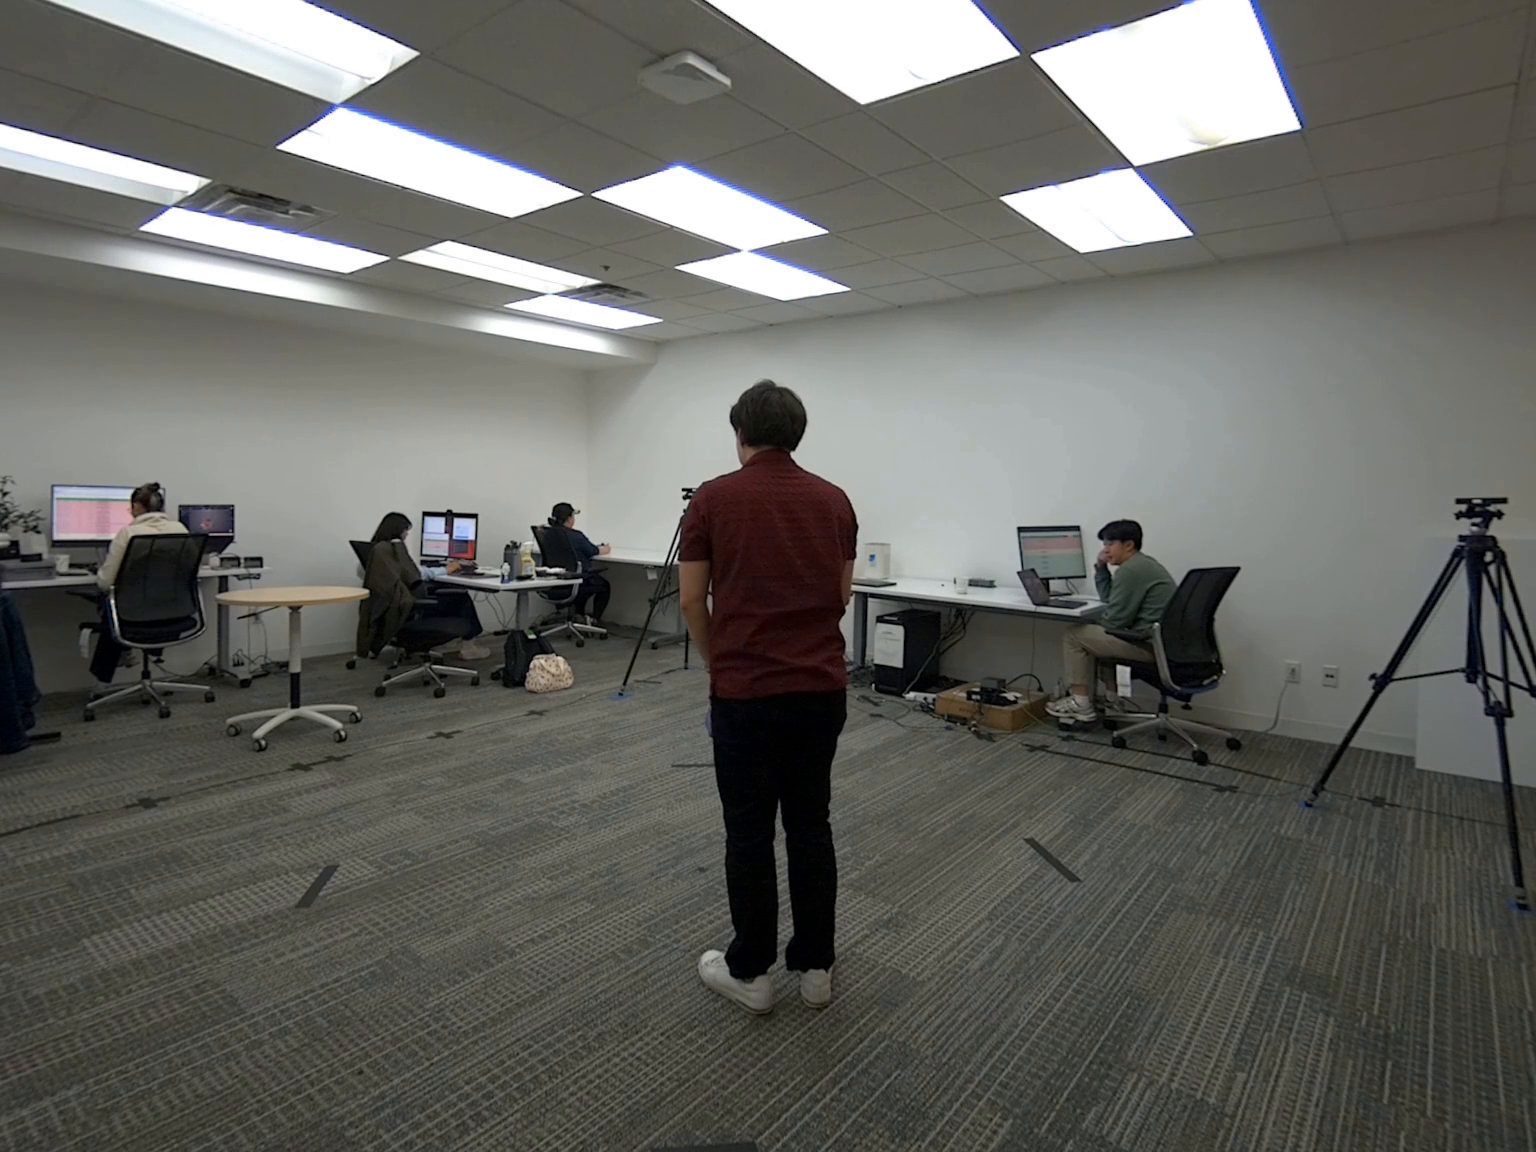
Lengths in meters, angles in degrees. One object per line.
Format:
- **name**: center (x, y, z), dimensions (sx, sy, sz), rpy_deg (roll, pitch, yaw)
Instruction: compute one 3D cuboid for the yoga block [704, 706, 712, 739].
- **yoga block**: center (-0.099, 0.377, 2.587), dimensions (0.146, 0.225, 0.079), rpy_deg (2, 35, -20)
